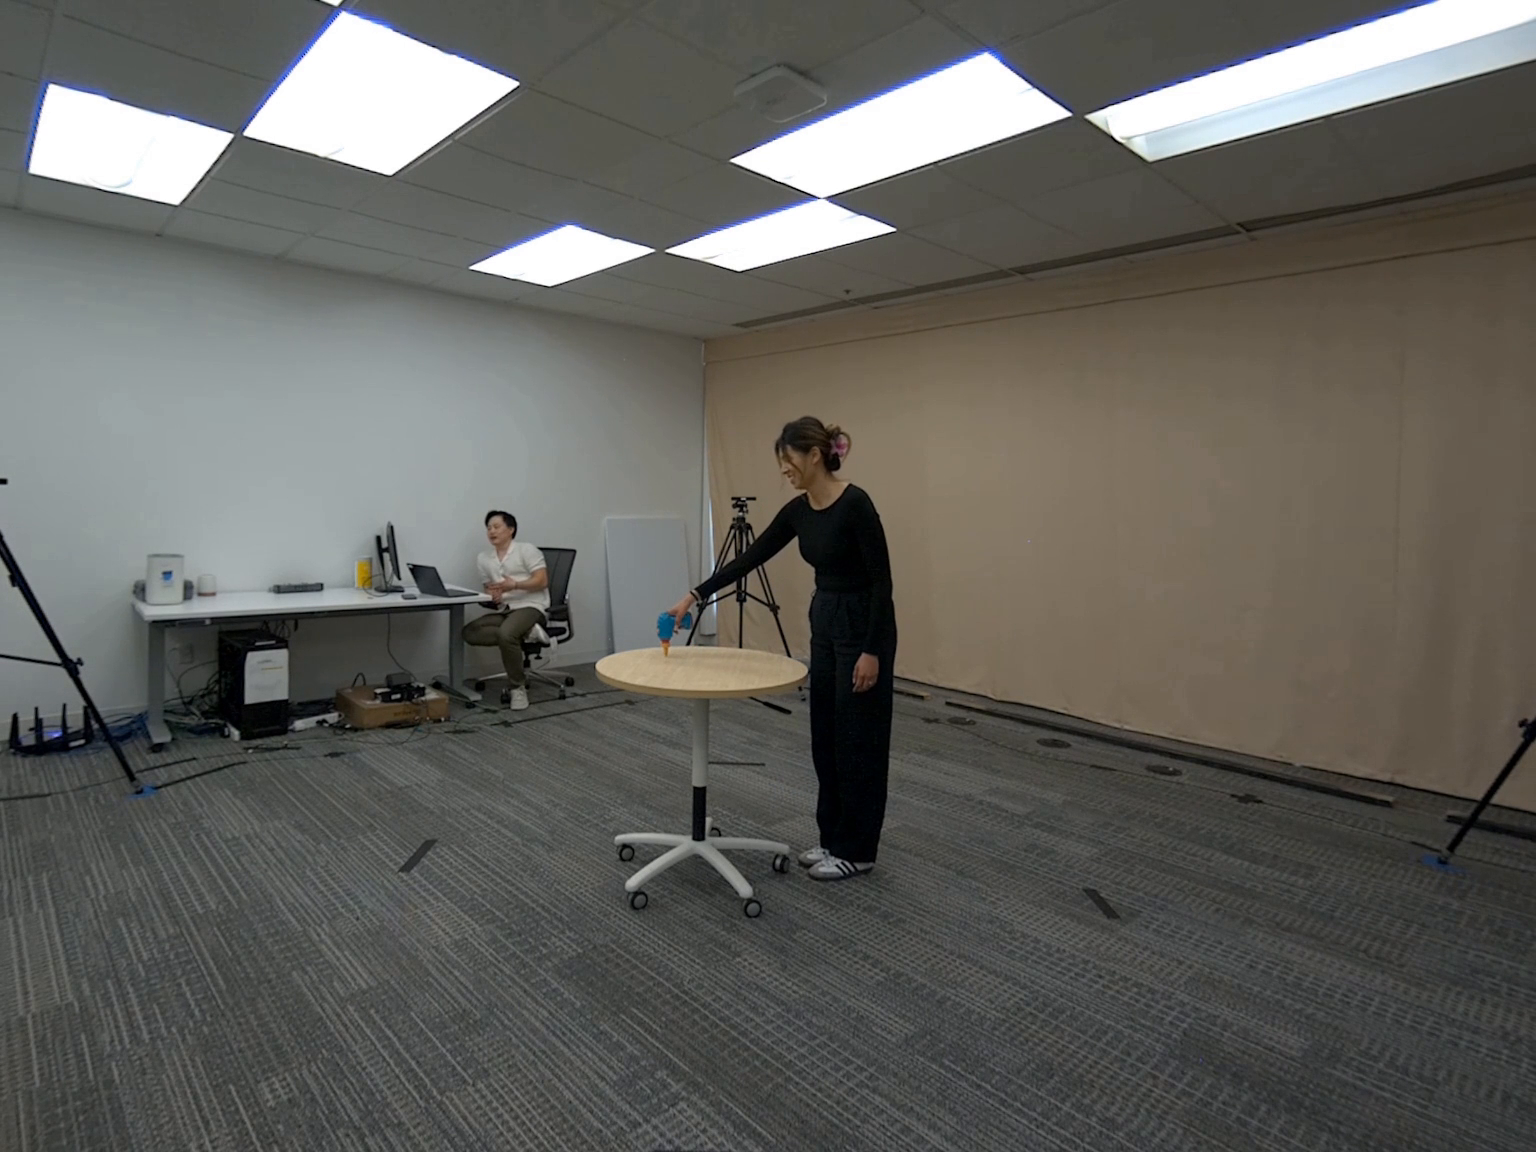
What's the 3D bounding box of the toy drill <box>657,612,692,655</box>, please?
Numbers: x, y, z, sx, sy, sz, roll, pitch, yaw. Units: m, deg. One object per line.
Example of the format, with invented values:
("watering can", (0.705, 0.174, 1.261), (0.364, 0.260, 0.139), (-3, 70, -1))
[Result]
("toy drill", (-0.362, 0.220, 3.217), (0.143, 0.169, 0.063), (-5, 7, -41))
